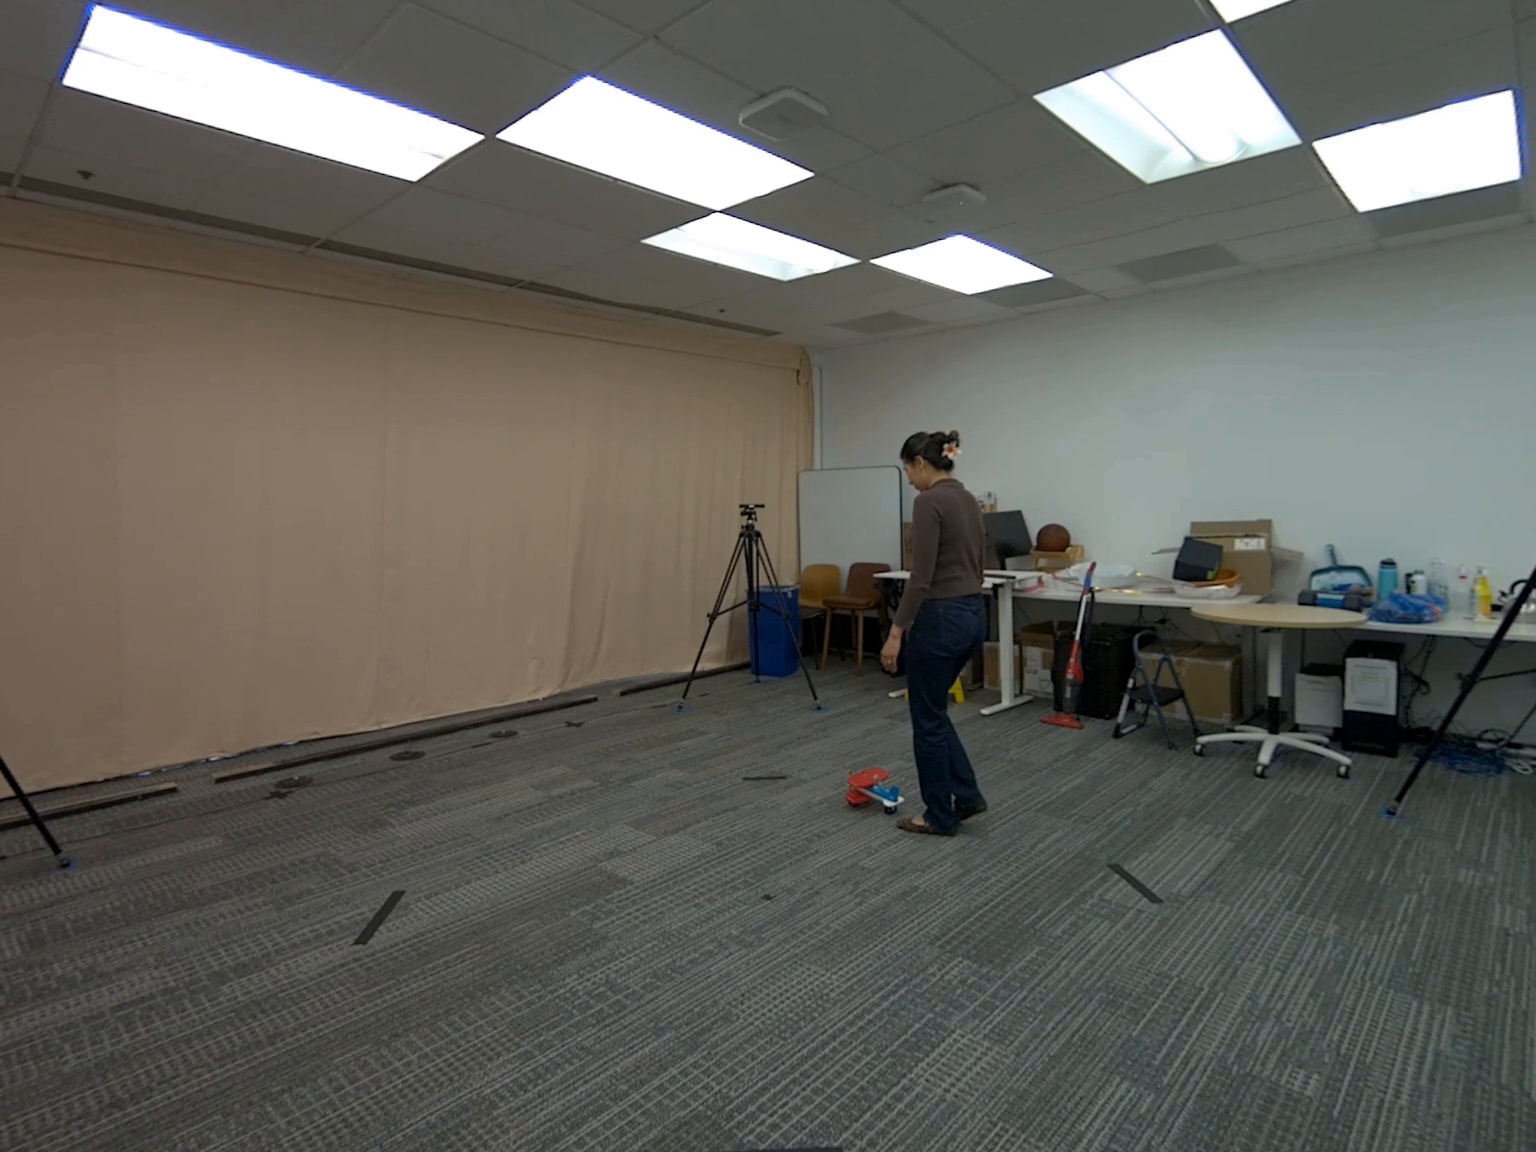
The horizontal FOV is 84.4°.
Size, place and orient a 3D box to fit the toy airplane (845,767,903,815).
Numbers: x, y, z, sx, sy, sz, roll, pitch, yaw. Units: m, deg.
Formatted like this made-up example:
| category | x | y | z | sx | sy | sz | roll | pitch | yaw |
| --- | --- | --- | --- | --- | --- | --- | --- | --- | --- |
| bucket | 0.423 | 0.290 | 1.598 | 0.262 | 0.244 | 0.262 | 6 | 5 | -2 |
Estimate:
| category | x | y | z | sx | sy | sz | roll | pitch | yaw |
| --- | --- | --- | --- | --- | --- | --- | --- | --- | --- |
| toy airplane | 0.496 | 0.984 | 3.856 | 0.264 | 0.156 | 0.247 | -1 | 4 | 18 |
